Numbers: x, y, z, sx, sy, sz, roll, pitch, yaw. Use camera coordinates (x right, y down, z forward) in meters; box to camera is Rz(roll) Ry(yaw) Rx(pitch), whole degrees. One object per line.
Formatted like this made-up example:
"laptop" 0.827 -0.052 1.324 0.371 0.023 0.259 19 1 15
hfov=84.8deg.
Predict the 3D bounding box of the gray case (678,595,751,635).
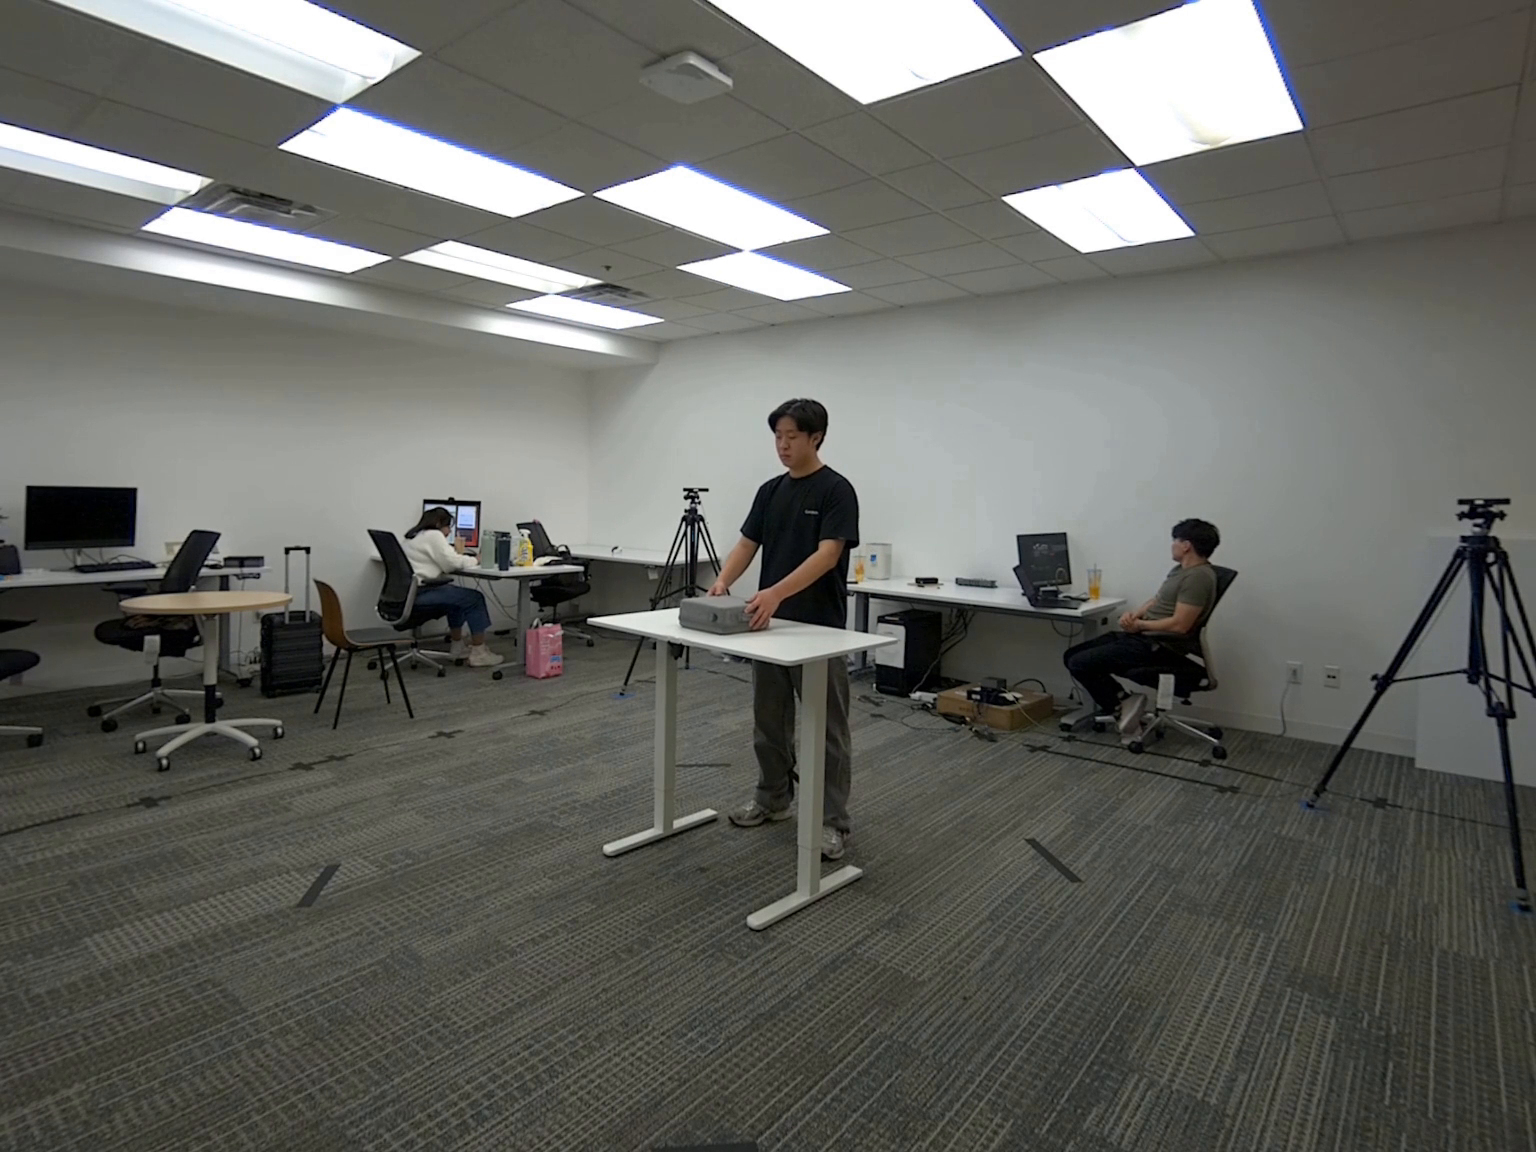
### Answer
"gray case" -0.165 0.141 3.088 0.255 0.102 0.297 -4 8 -41
